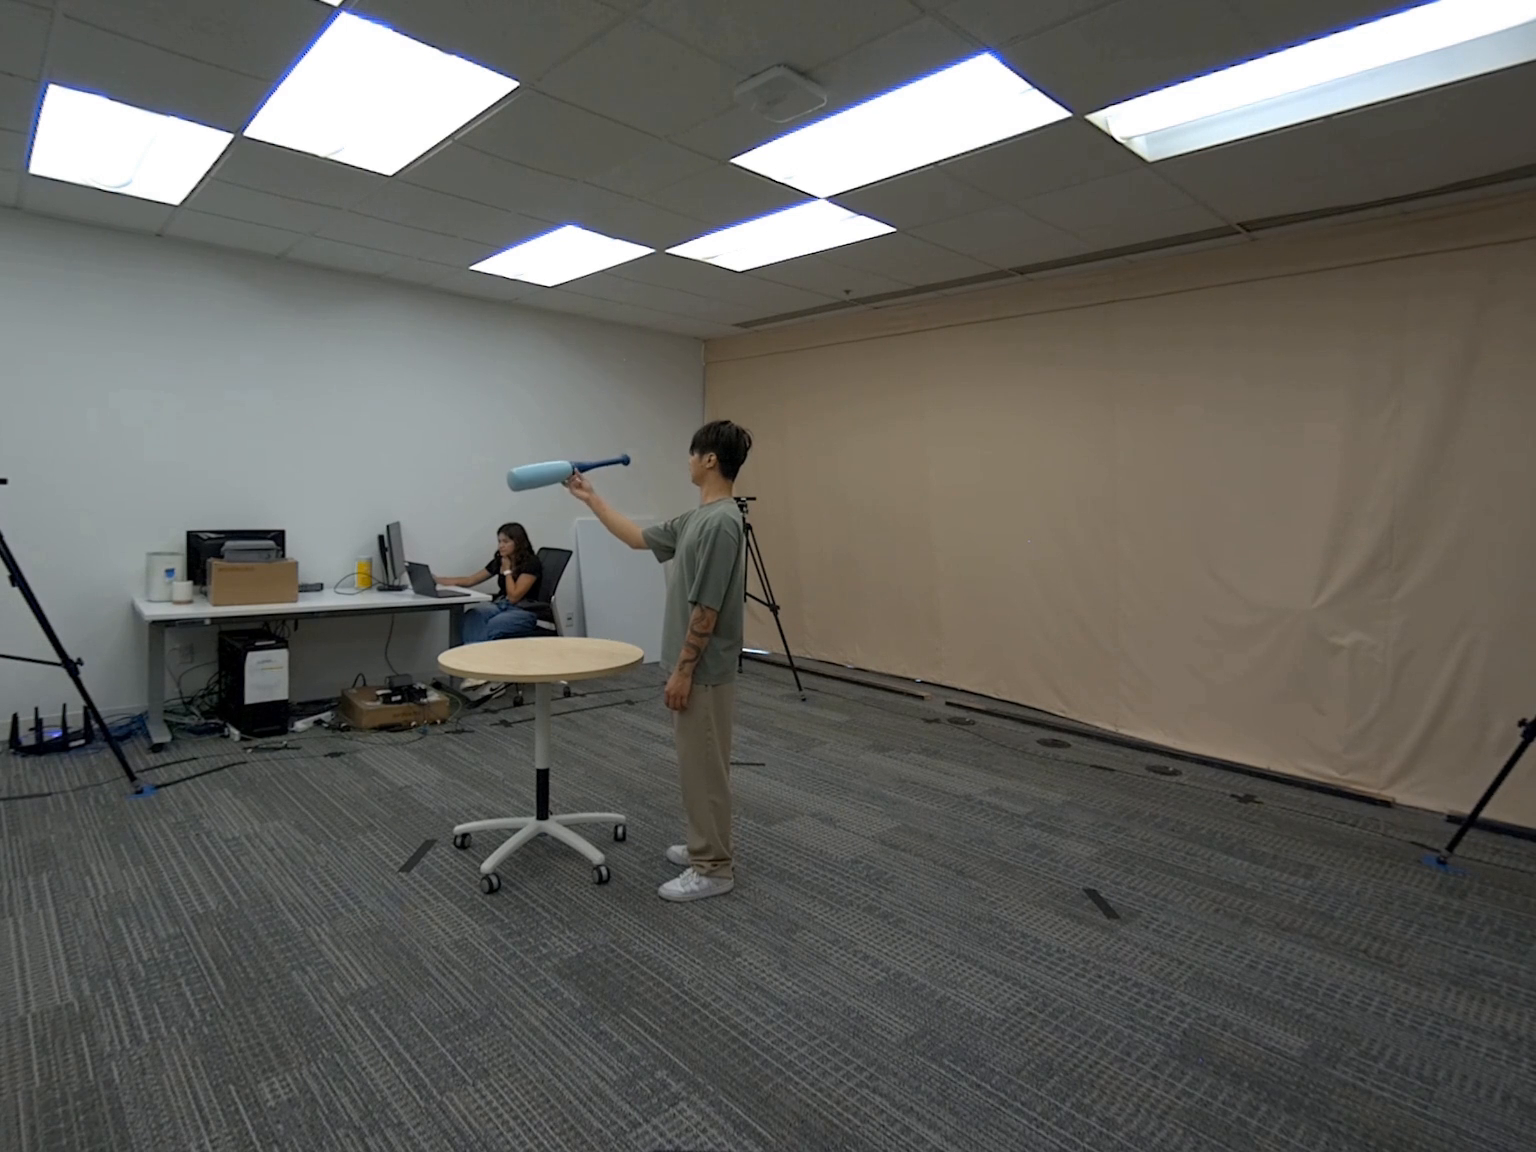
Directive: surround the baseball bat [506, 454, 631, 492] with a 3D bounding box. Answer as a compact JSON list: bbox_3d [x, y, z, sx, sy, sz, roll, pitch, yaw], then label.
[{"bbox_3d":[-0.761,-0.405,3.240,0.091,0.088,0.535,5,18,42],"label":"baseball bat"}]
